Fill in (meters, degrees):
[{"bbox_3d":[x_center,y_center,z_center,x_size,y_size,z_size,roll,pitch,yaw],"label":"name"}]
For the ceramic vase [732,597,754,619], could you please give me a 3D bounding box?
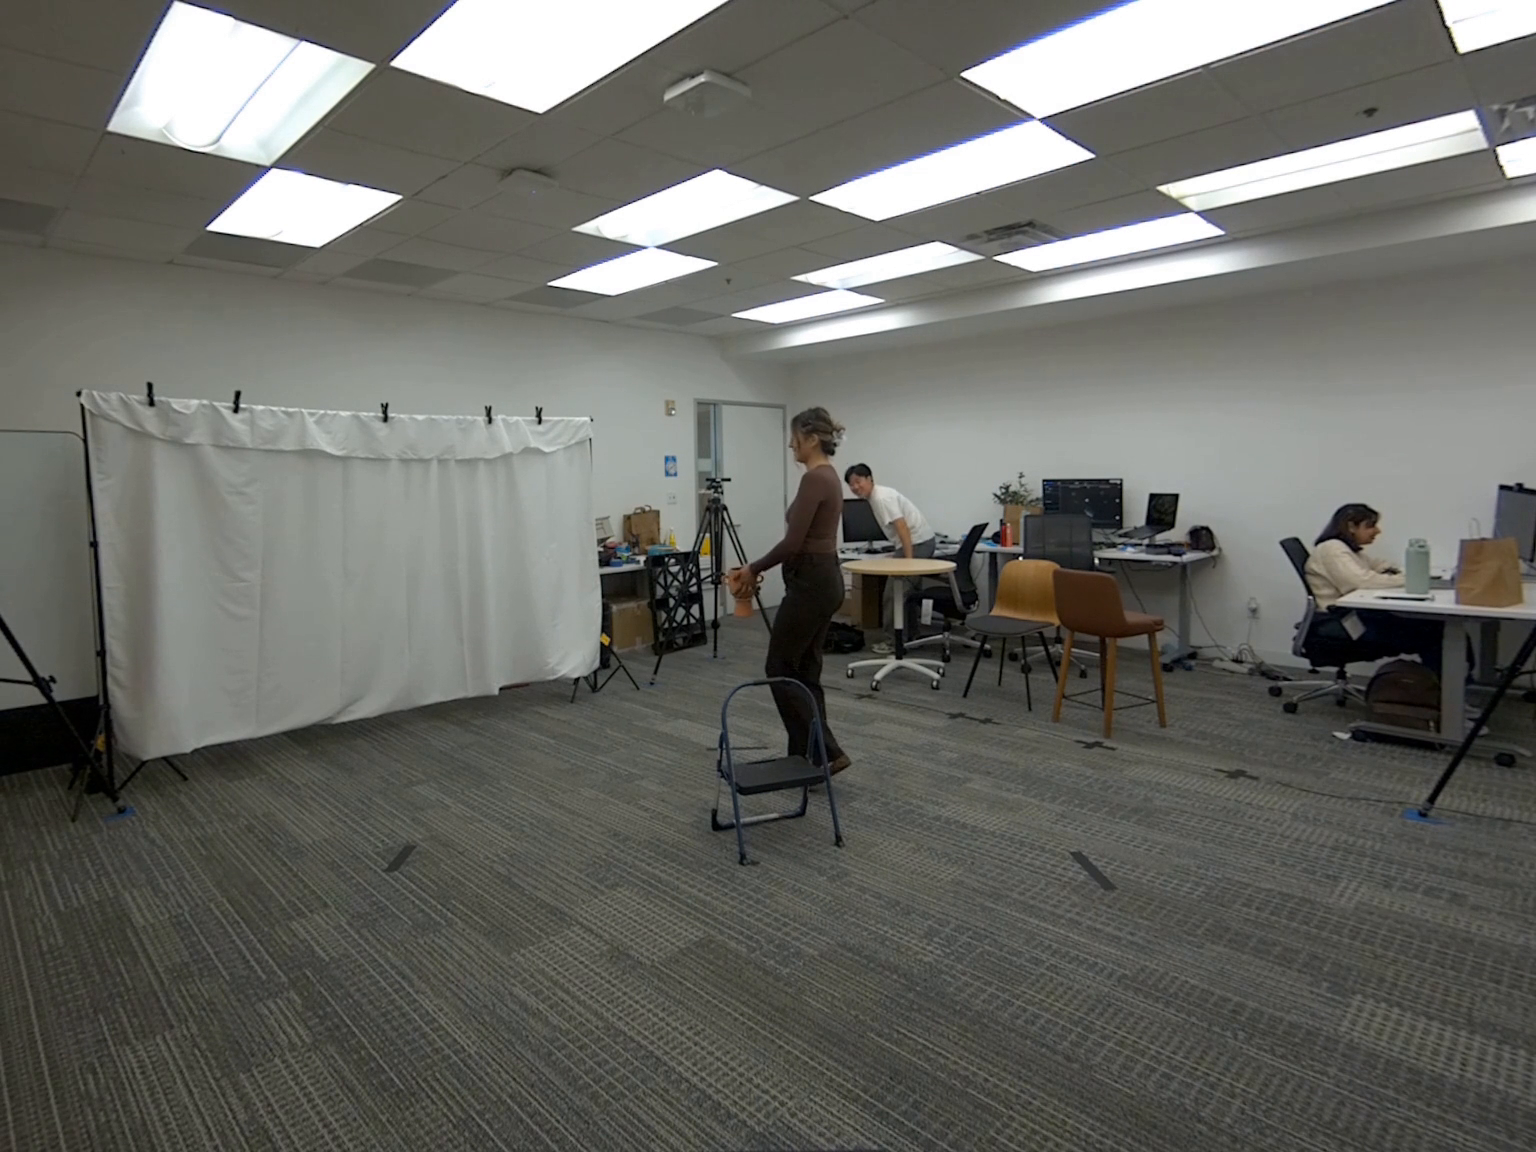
[{"bbox_3d":[-0.101,0.076,4.005,0.163,0.218,0.132,1,8,33],"label":"ceramic vase"}]
